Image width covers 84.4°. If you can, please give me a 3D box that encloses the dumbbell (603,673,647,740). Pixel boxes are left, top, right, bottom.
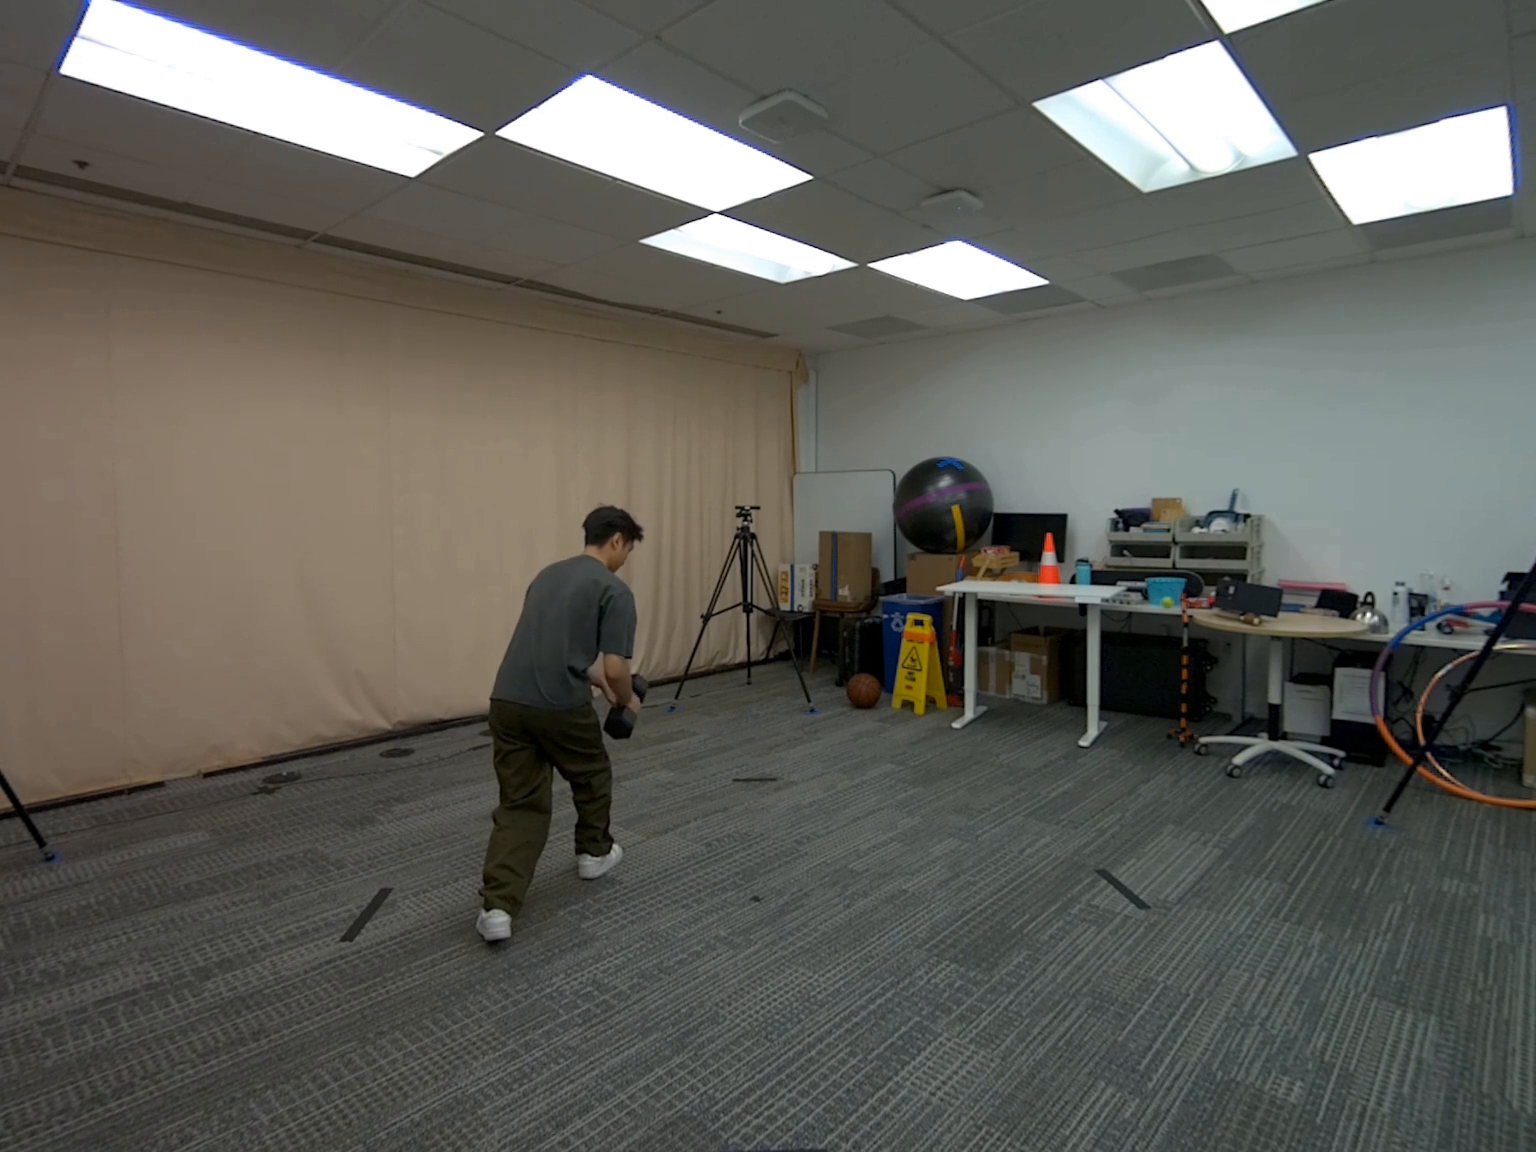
[{"bbox_3d":[-0.548,0.503,3.245,0.124,0.106,0.296,-8,26,10],"label":"dumbbell"}]
